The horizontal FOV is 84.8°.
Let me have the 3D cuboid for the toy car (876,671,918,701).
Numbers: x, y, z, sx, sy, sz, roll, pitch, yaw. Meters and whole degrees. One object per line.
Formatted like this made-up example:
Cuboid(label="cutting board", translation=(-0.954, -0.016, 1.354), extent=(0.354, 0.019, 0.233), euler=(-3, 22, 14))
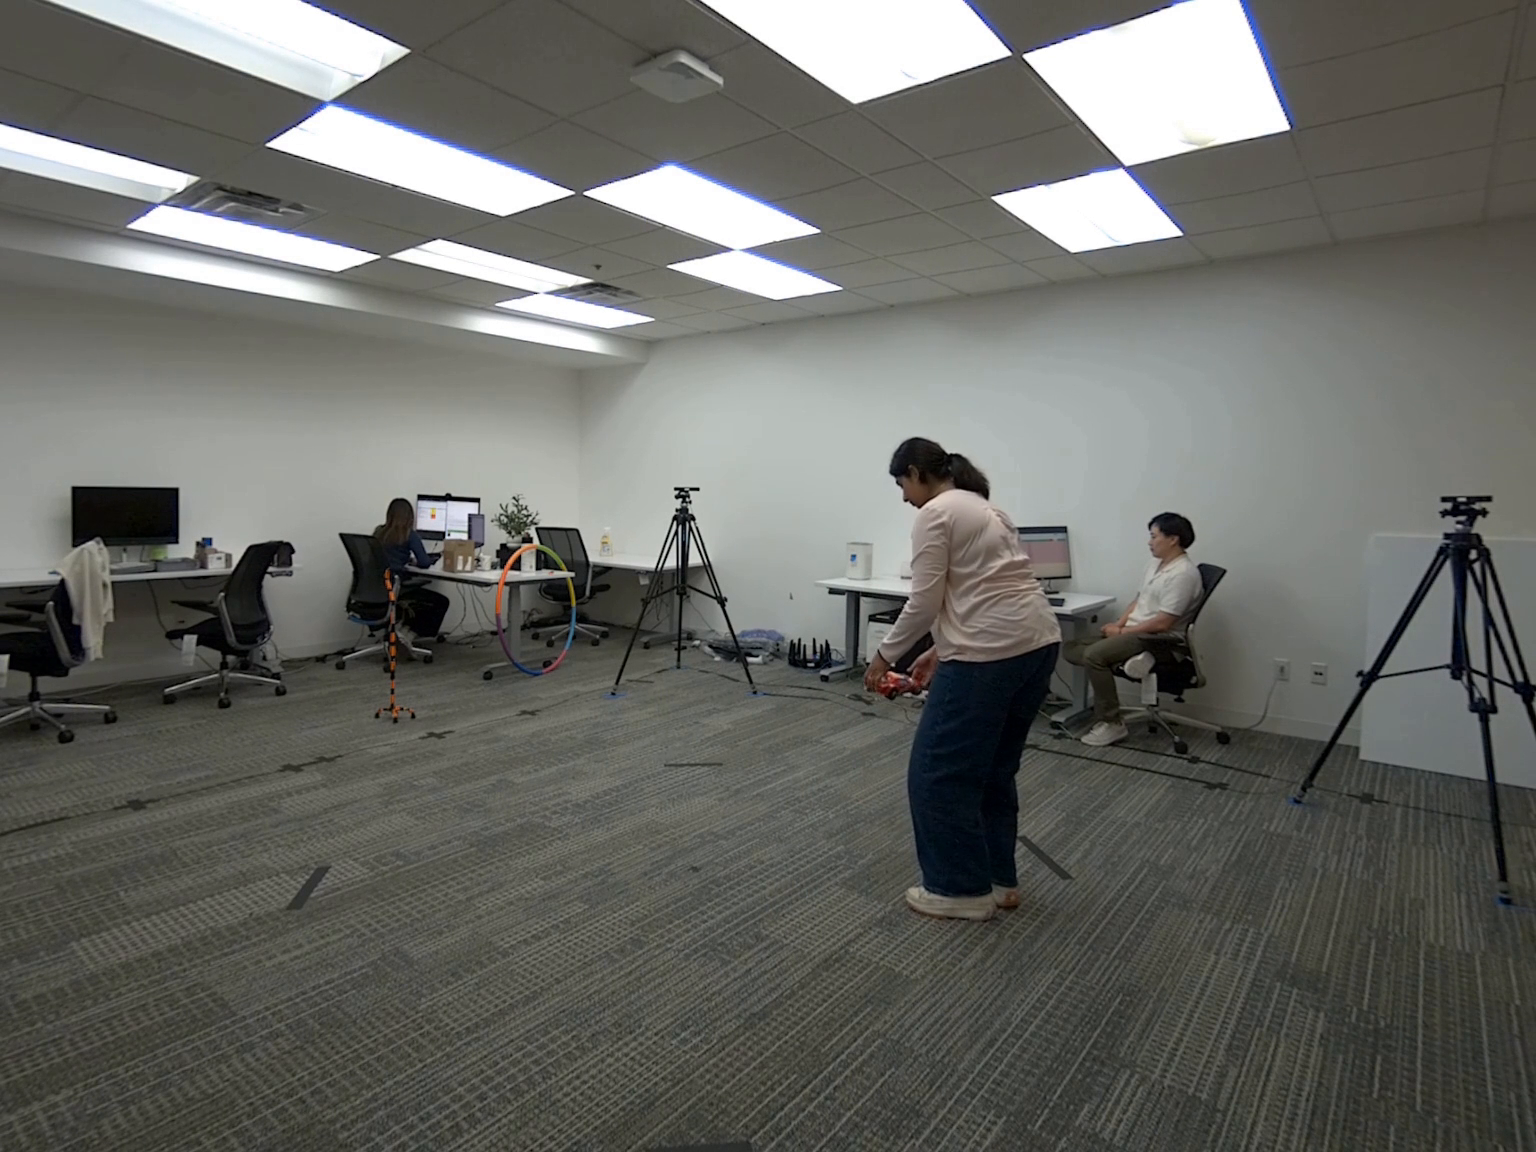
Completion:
Cuboid(label="toy car", translation=(0.444, 0.397, 3.087), extent=(0.245, 0.083, 0.135), euler=(14, 5, -43))
